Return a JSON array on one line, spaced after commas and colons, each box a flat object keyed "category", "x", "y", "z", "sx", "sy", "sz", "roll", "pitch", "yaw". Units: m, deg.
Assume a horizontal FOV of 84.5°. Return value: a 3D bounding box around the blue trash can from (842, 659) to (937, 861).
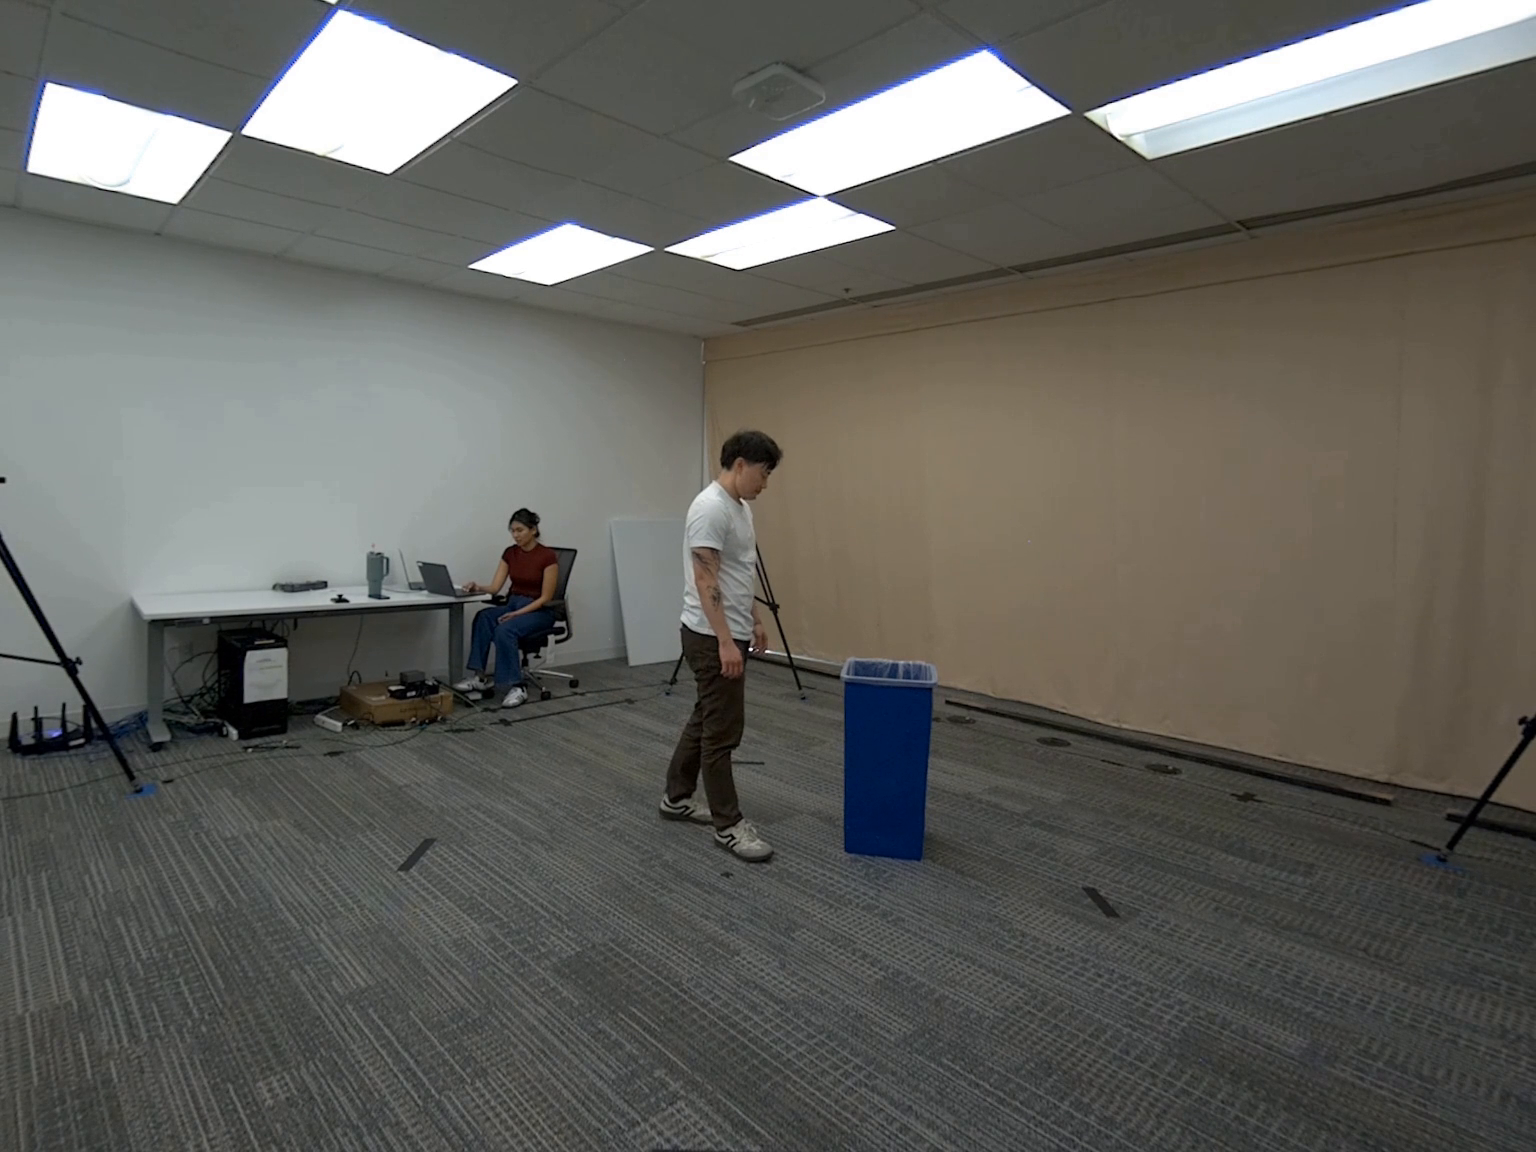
[{"category": "blue trash can", "x": 0.463, "y": 0.730, "z": 3.425, "sx": 0.377, "sy": 0.711, "sz": 0.376, "roll": 3, "pitch": 4, "yaw": 10}]
